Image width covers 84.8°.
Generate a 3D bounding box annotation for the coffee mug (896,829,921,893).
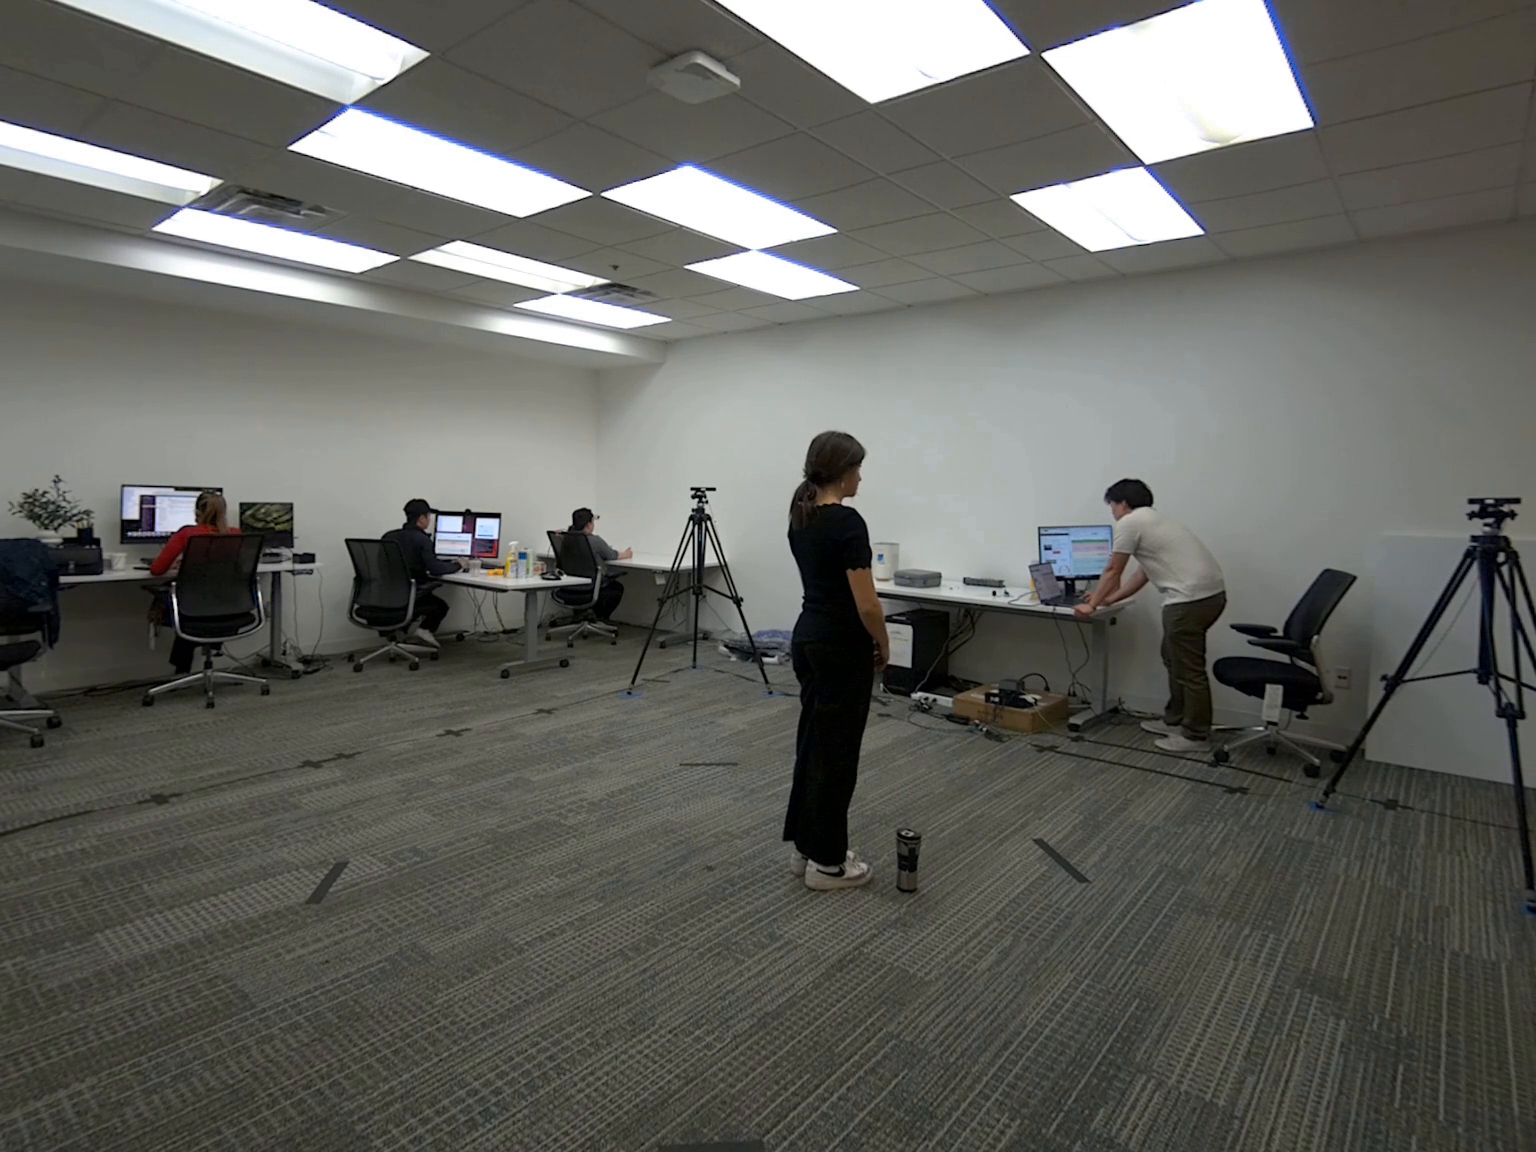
[{"bbox_3d":[0.473,1.003,2.963,0.091,0.202,0.118,7,4,32],"label":"coffee mug"}]
